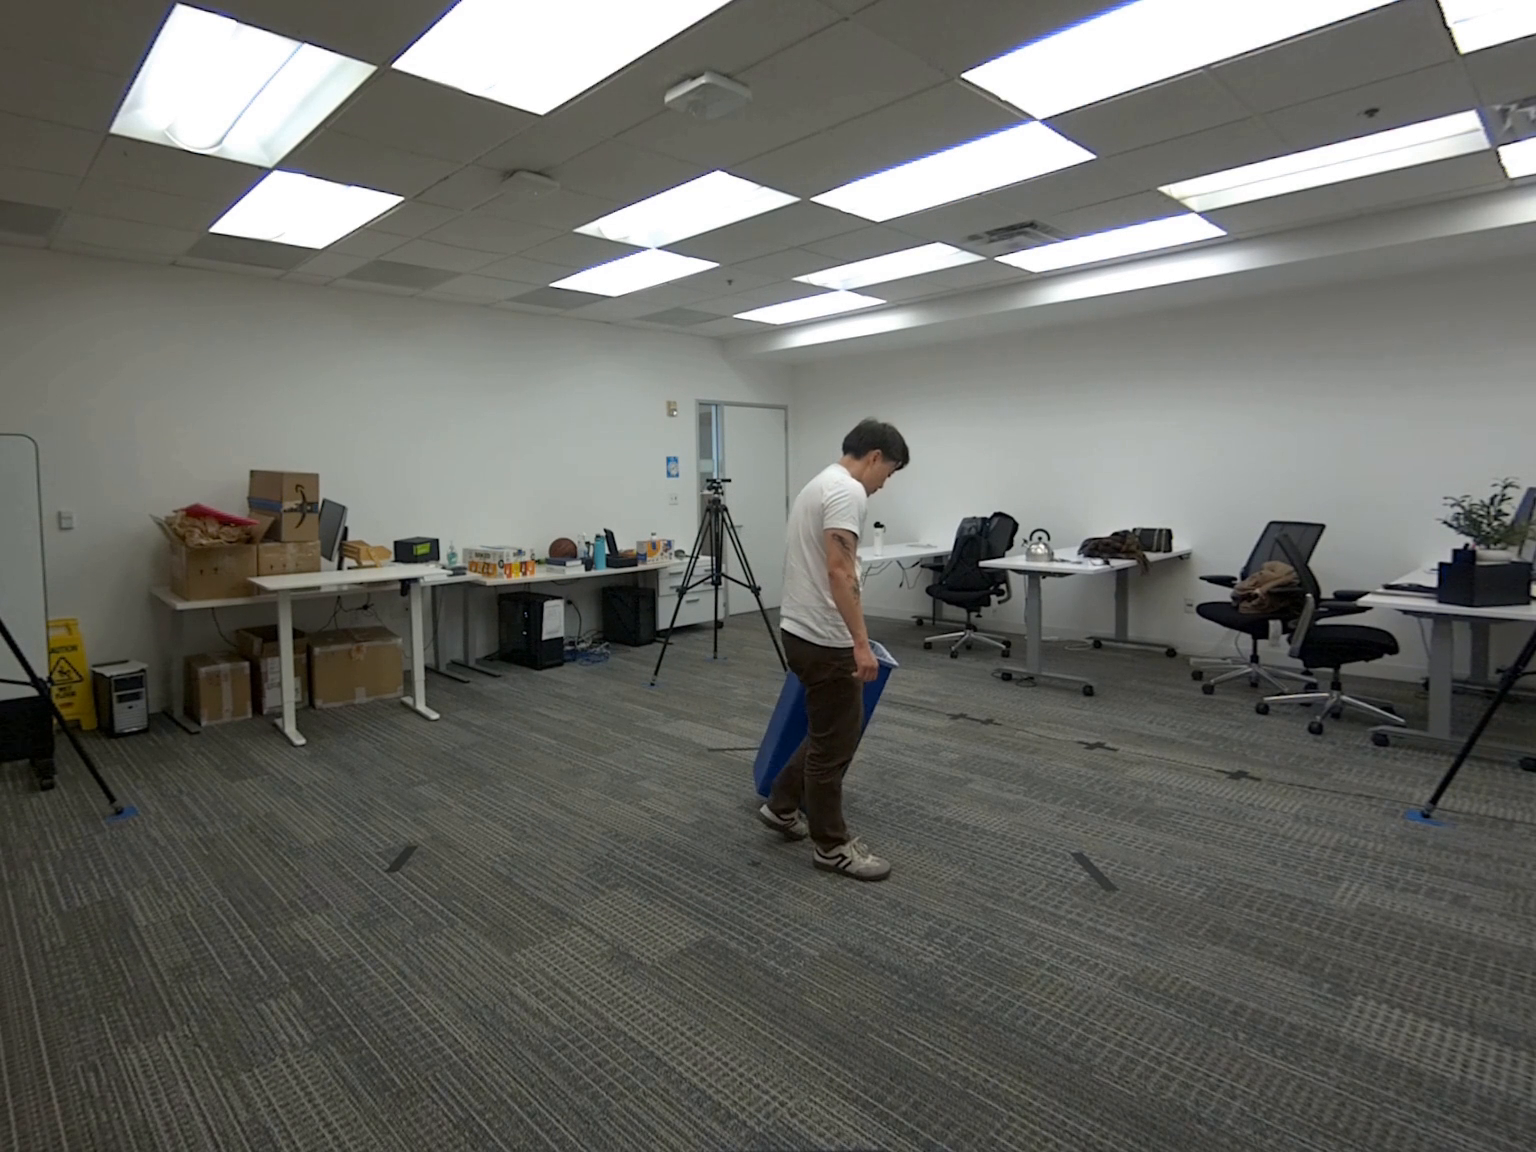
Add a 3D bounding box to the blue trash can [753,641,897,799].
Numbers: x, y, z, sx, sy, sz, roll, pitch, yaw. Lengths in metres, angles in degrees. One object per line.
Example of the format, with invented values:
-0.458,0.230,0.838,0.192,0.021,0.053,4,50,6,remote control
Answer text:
0.221,0.595,3.614,0.375,0.711,0.378,21,6,-7,blue trash can
